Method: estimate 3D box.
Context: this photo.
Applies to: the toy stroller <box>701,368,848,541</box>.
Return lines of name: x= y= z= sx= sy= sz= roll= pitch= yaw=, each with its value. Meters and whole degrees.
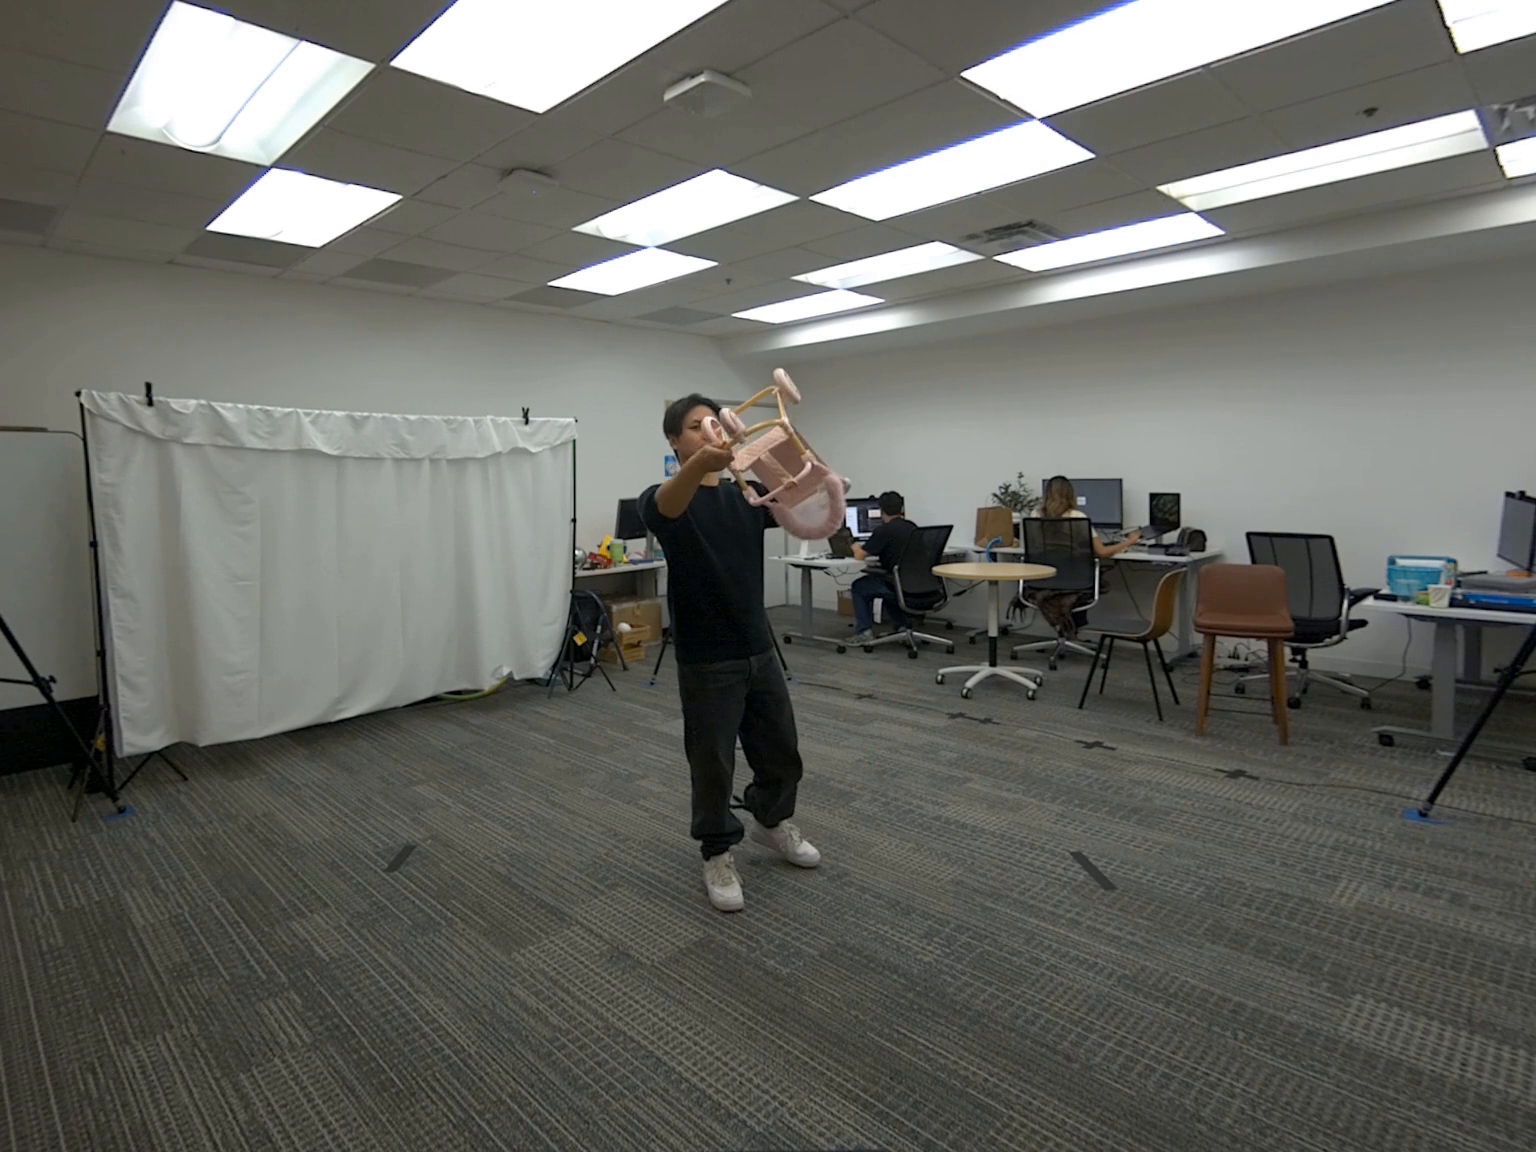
toy stroller: x=0.044 y=-0.303 z=2.352 sx=0.283 sy=0.519 sz=0.350 roll=-33 pitch=26 yaw=14
